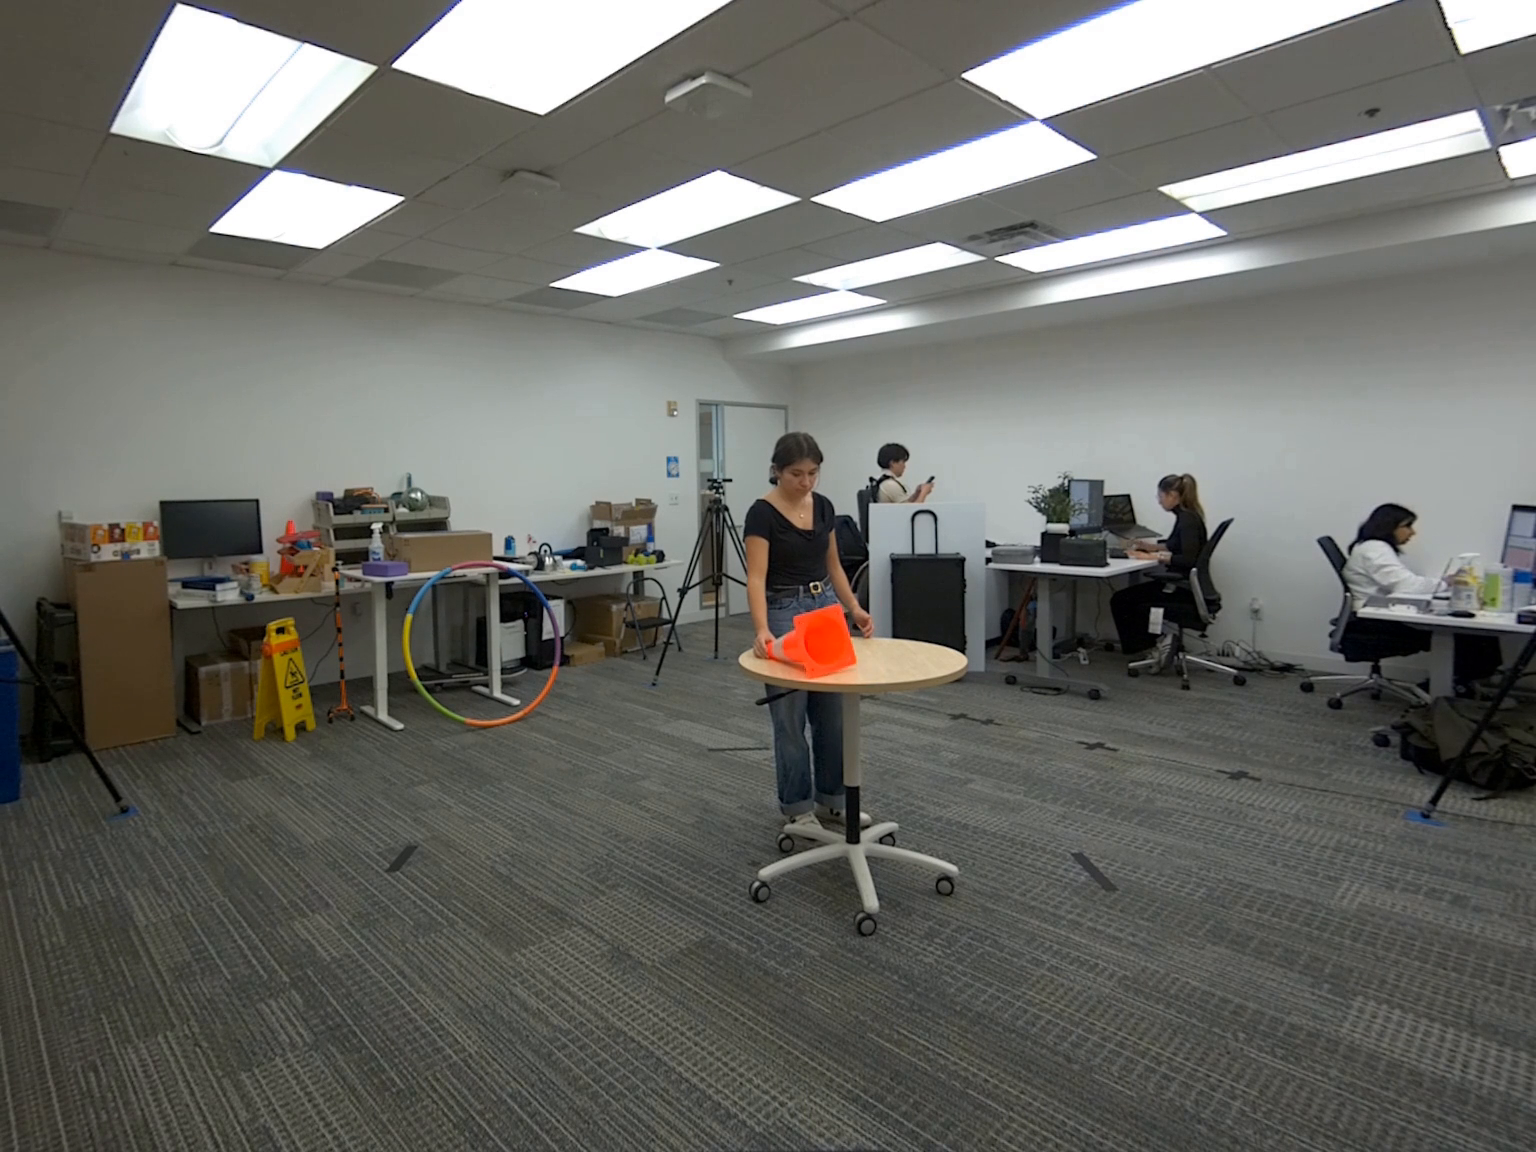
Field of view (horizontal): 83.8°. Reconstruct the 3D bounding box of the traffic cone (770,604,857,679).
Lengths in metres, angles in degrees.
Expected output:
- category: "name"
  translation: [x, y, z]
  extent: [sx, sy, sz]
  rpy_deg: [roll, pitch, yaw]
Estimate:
- category: "traffic cone"
  translation: [0.086, 0.237, 2.834]
  extent: [0.201, 0.204, 0.389]
  rpy_deg: [-11, -4, -31]
